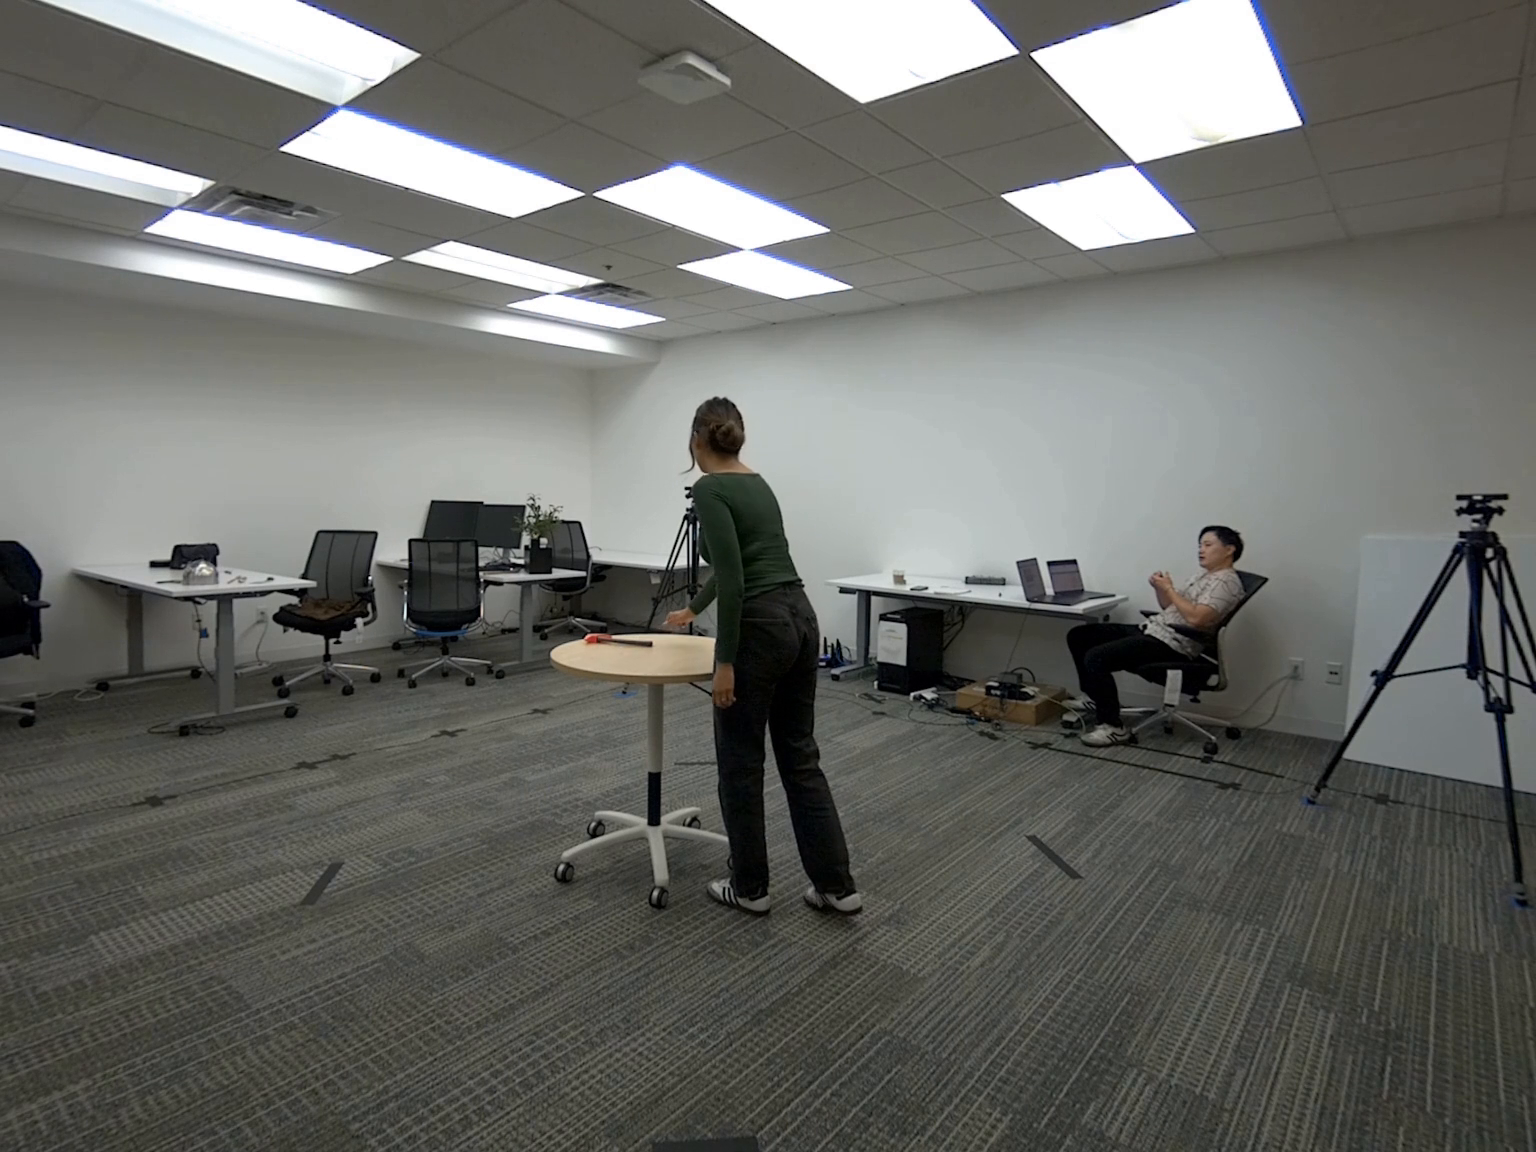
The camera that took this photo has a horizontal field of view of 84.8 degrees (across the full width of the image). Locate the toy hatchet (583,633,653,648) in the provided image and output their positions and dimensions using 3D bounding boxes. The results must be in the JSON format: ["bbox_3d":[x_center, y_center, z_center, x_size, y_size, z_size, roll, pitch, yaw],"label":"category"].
[{"bbox_3d":[-0.585,0.247,3.303,0.270,0.029,0.131,3,3,0],"label":"toy hatchet"}]
